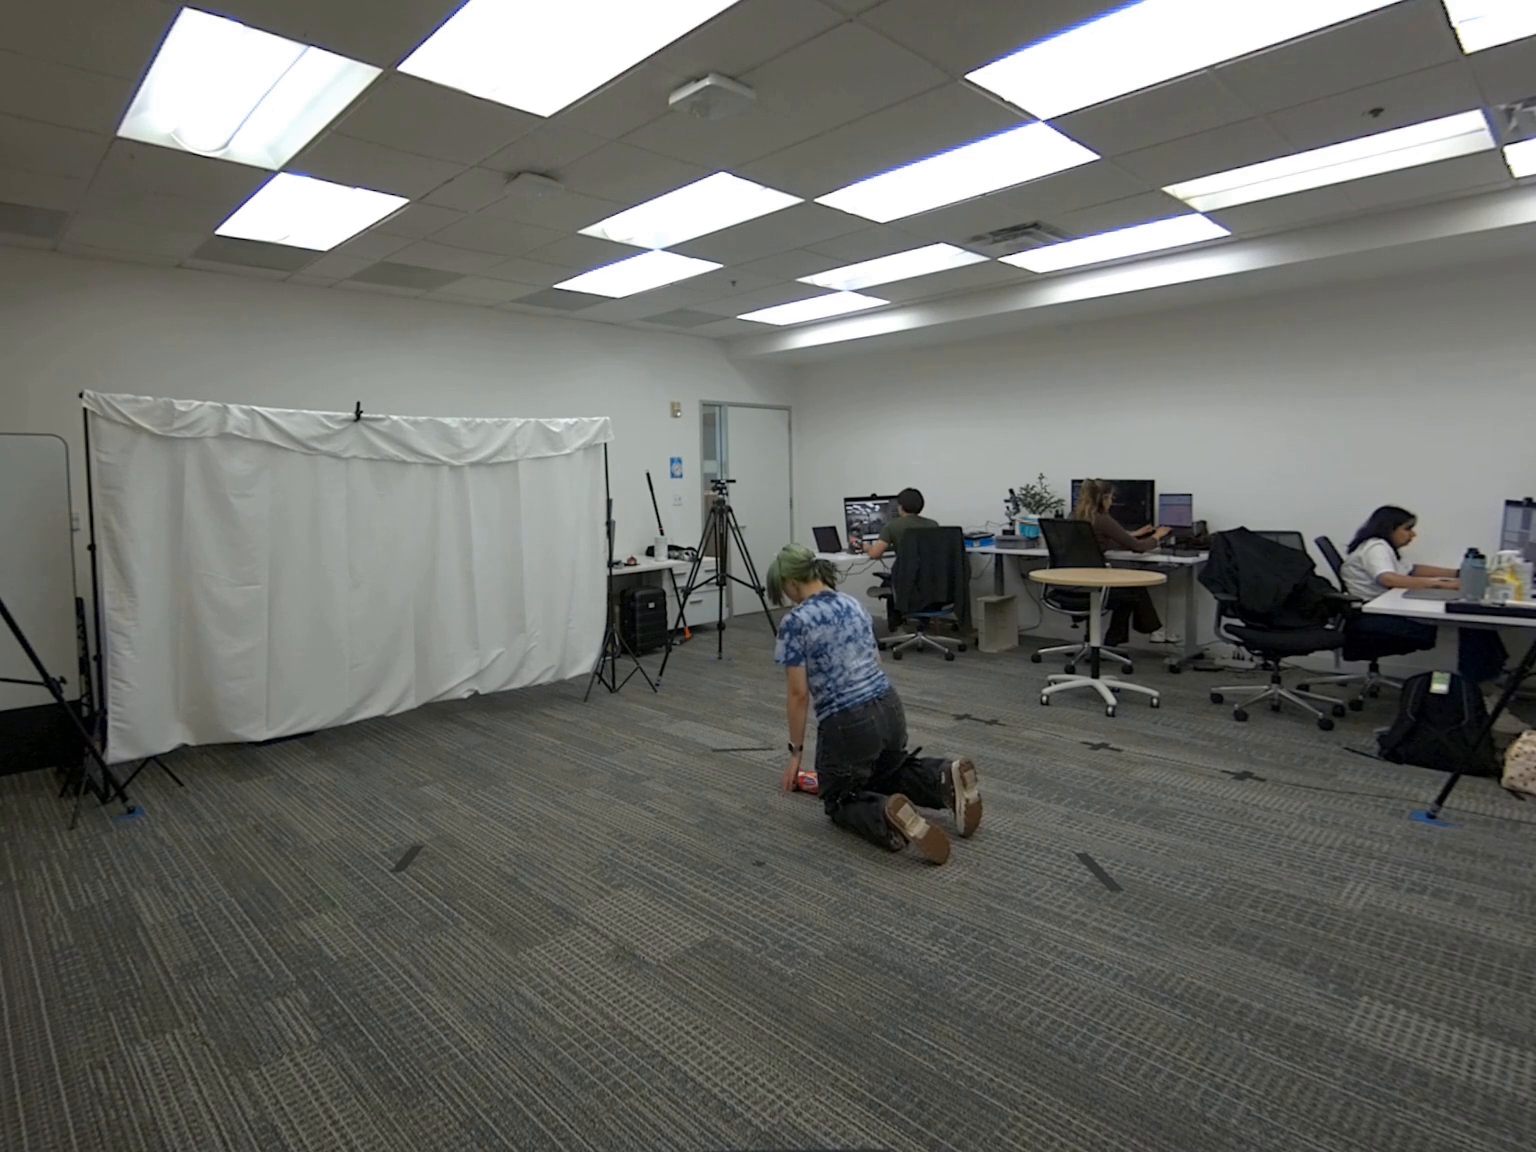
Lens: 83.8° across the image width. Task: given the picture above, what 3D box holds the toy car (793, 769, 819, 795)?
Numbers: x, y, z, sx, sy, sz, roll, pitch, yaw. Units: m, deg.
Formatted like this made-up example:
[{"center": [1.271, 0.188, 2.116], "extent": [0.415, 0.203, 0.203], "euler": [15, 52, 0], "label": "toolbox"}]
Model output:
[{"center": [0.191, 0.933, 3.840], "extent": [0.263, 0.083, 0.127], "euler": [16, 11, 33], "label": "toy car"}]
